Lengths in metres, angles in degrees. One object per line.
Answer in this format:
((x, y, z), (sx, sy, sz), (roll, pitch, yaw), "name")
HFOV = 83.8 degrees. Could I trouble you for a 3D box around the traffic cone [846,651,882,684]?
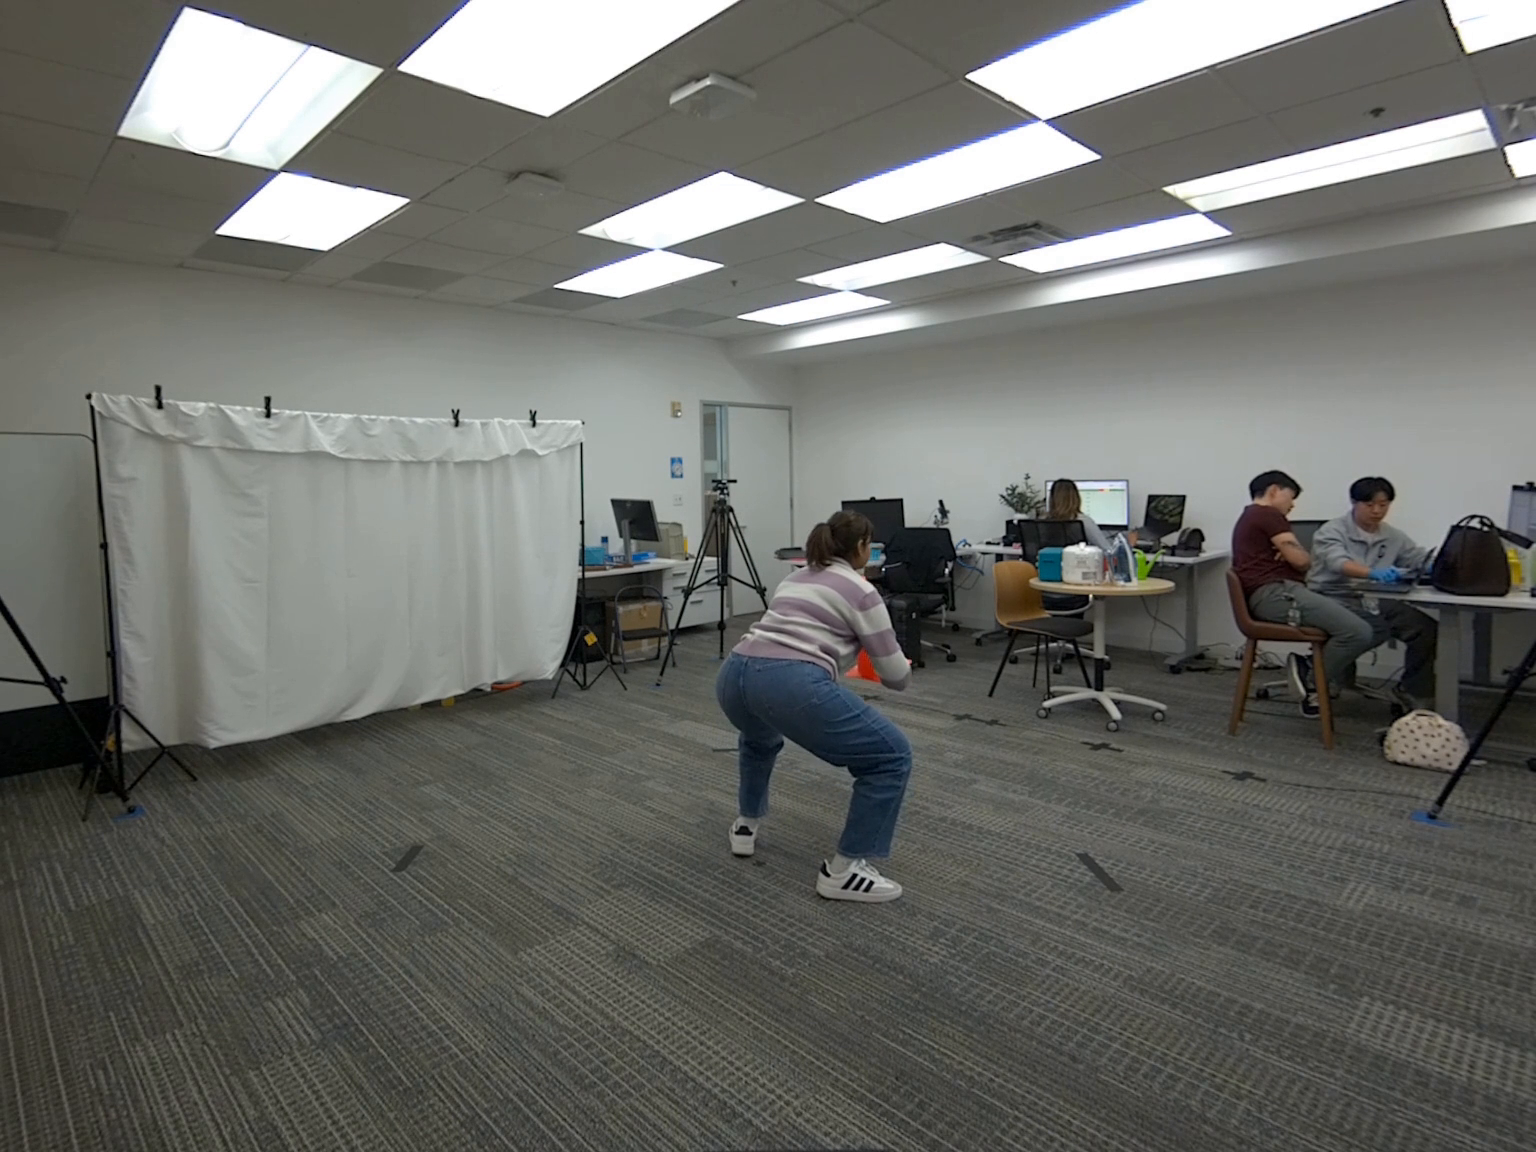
((0.394, 0.189, 3.320), (0.200, 0.378, 0.211), (-22, 17, -38), "traffic cone")
